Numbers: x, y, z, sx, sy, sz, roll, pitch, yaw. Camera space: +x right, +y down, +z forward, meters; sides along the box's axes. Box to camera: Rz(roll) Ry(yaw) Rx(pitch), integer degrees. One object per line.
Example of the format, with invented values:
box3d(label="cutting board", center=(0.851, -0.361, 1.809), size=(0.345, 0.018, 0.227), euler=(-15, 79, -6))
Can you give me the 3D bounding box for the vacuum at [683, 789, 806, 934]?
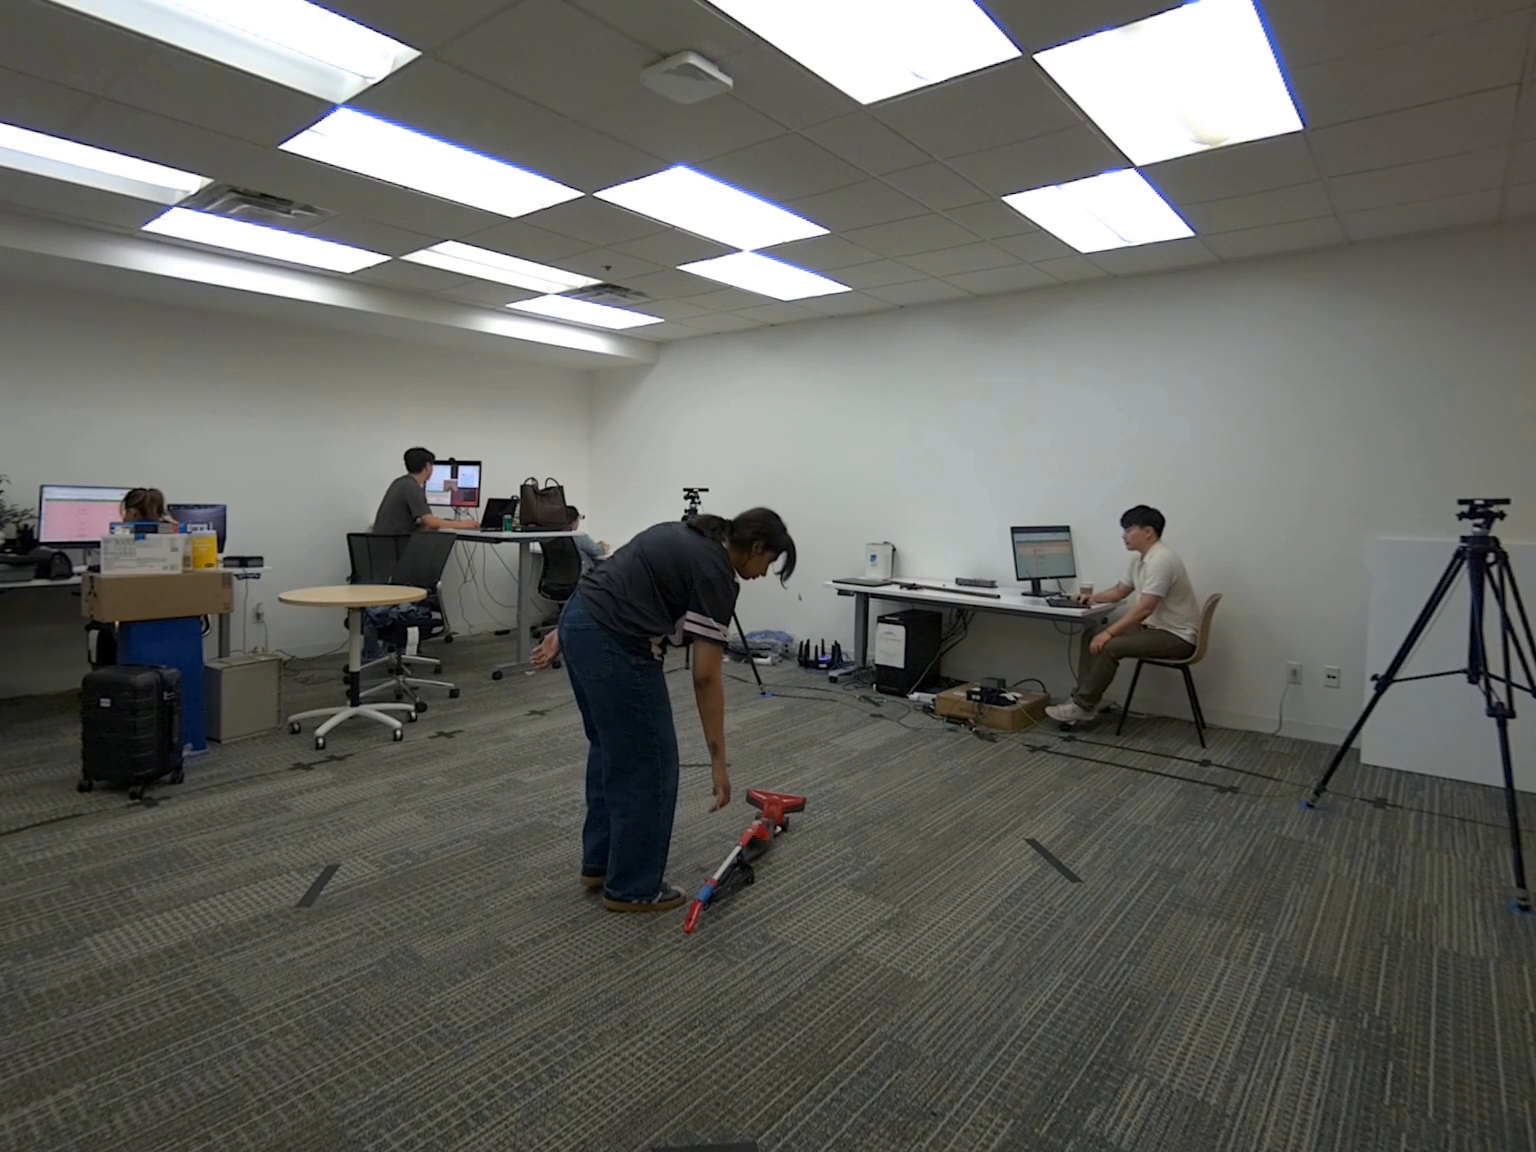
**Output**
box3d(label="vacuum", center=(-0.116, 1.014, 3.036), size=(0.257, 0.143, 1.035), euler=(3, 6, 15))
